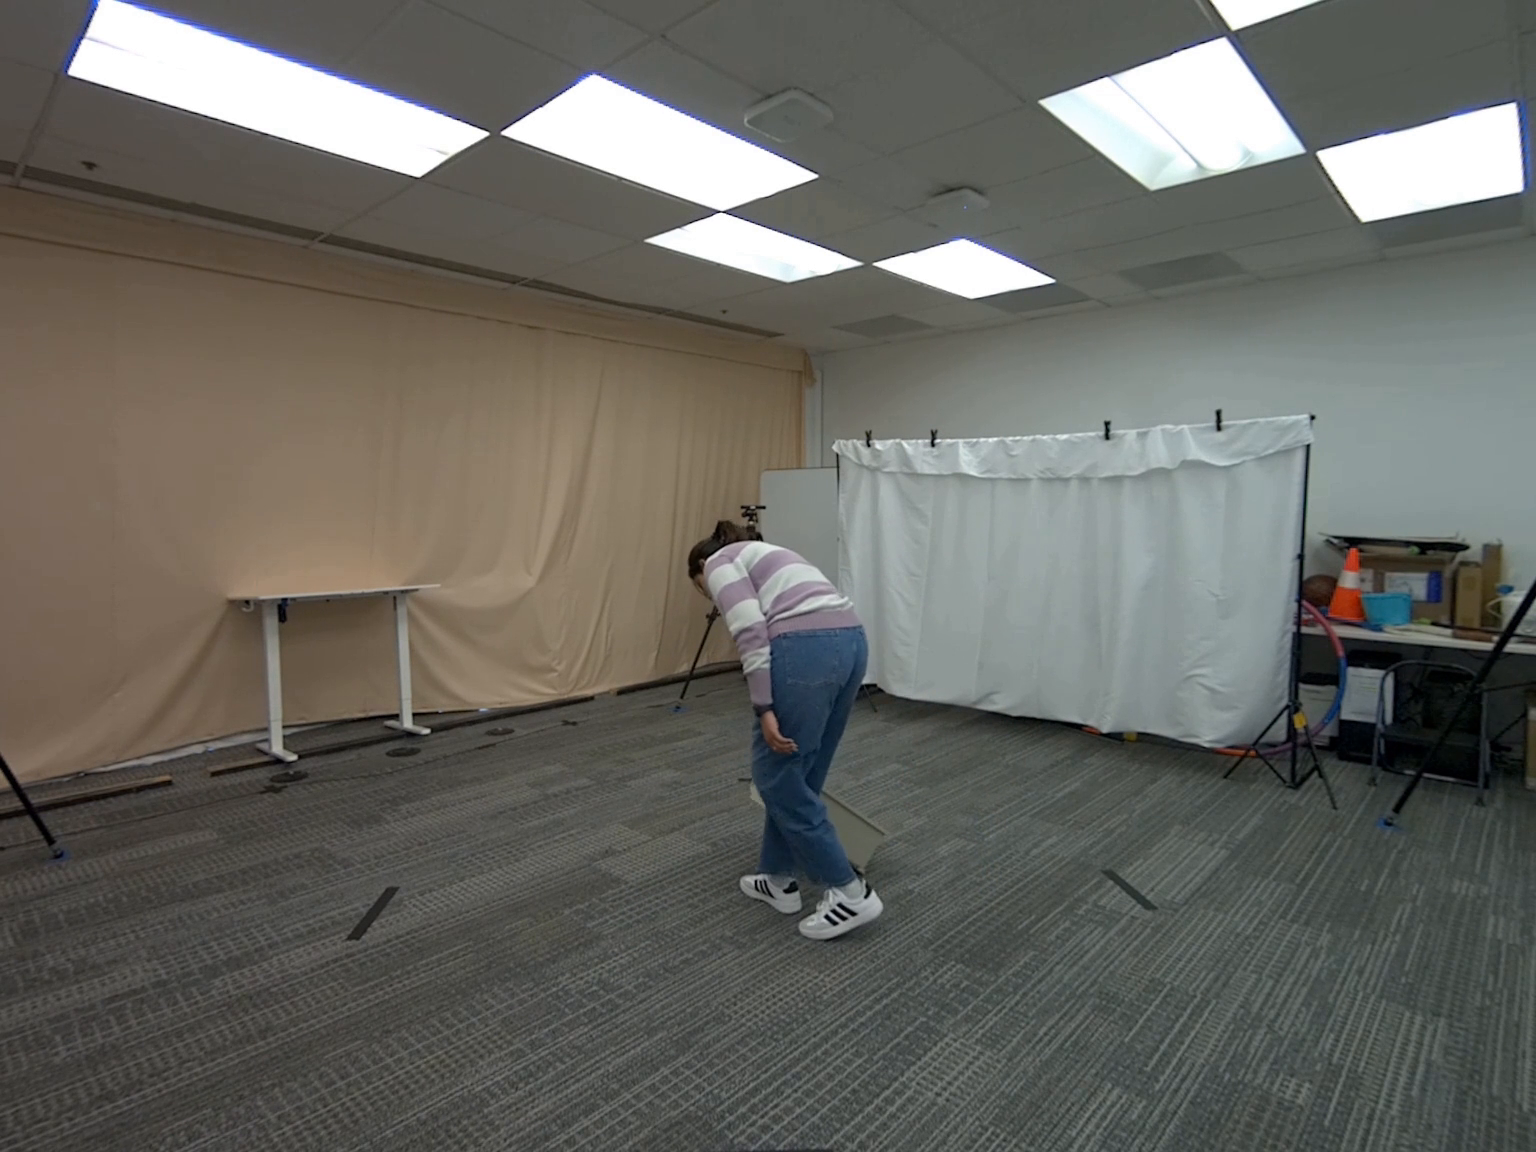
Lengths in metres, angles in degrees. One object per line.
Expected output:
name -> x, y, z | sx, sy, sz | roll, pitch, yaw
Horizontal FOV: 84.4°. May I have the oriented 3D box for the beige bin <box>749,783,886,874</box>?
beige bin -> 0.186, 0.925, 3.278 | 0.412, 0.189, 0.387 | 38, -11, -21
